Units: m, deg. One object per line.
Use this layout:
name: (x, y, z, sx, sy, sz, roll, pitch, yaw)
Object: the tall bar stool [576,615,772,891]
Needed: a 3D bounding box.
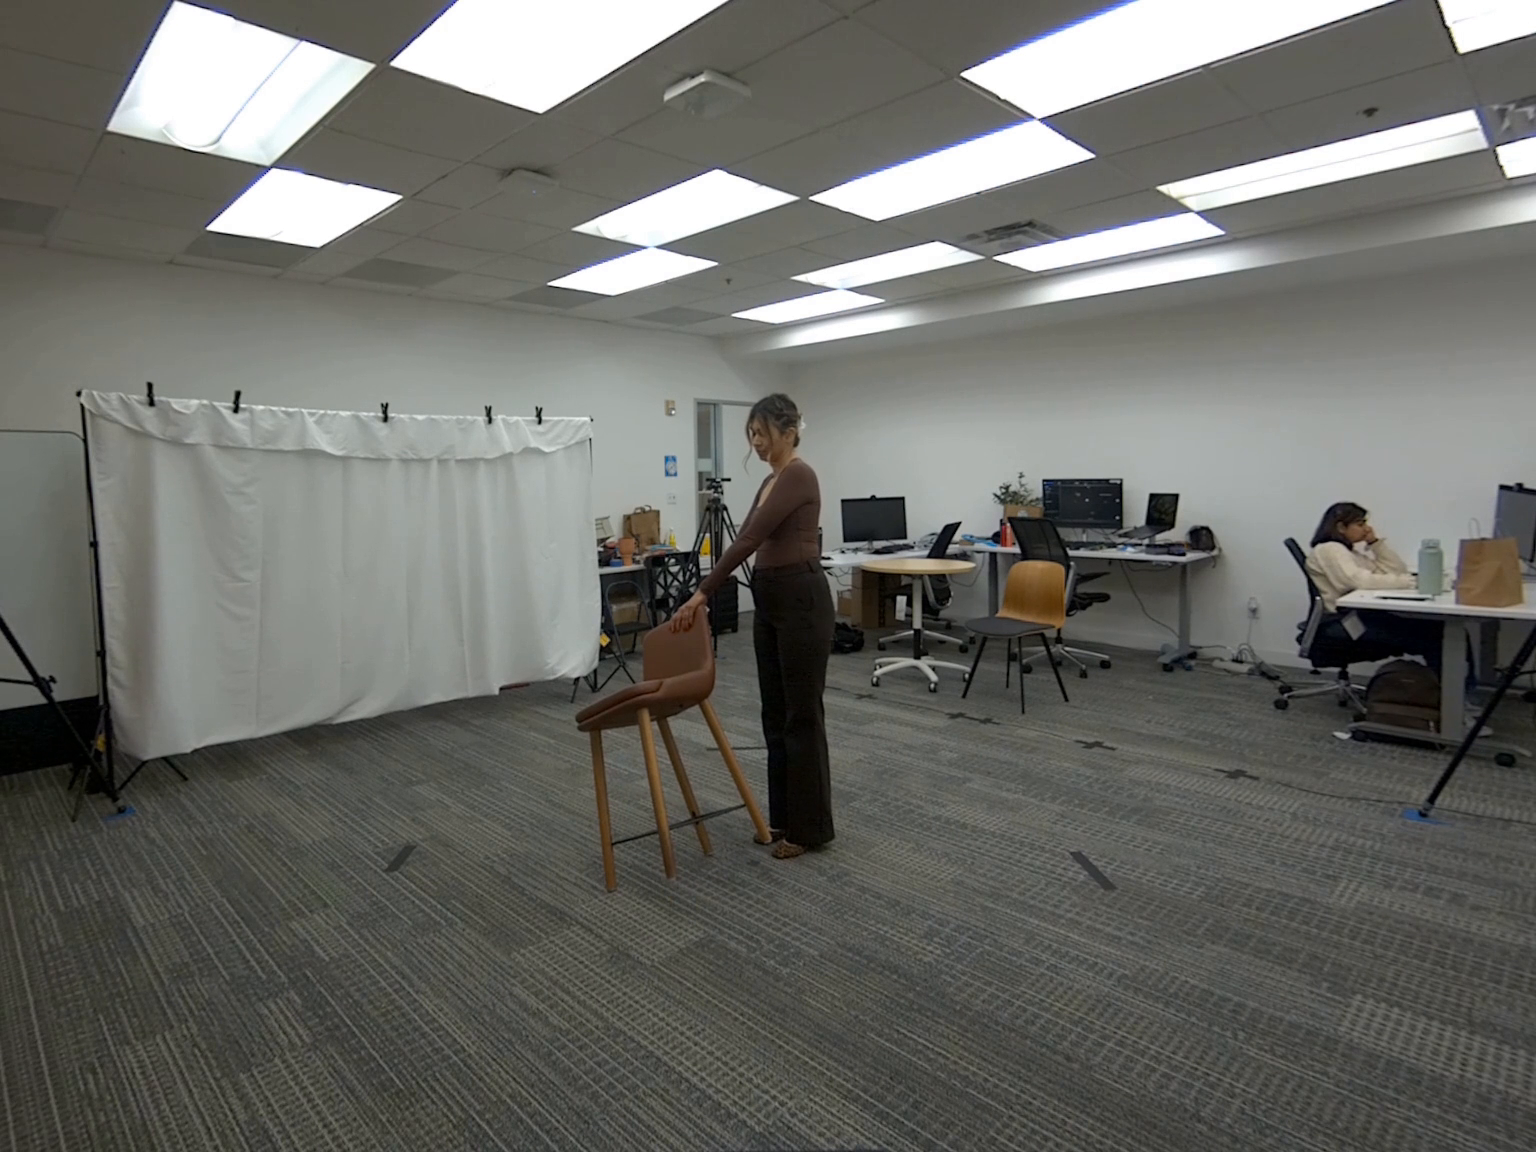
tall bar stool: (-0.381, 0.581, 3.038, 0.454, 0.906, 0.461, -1, -21, -42)
